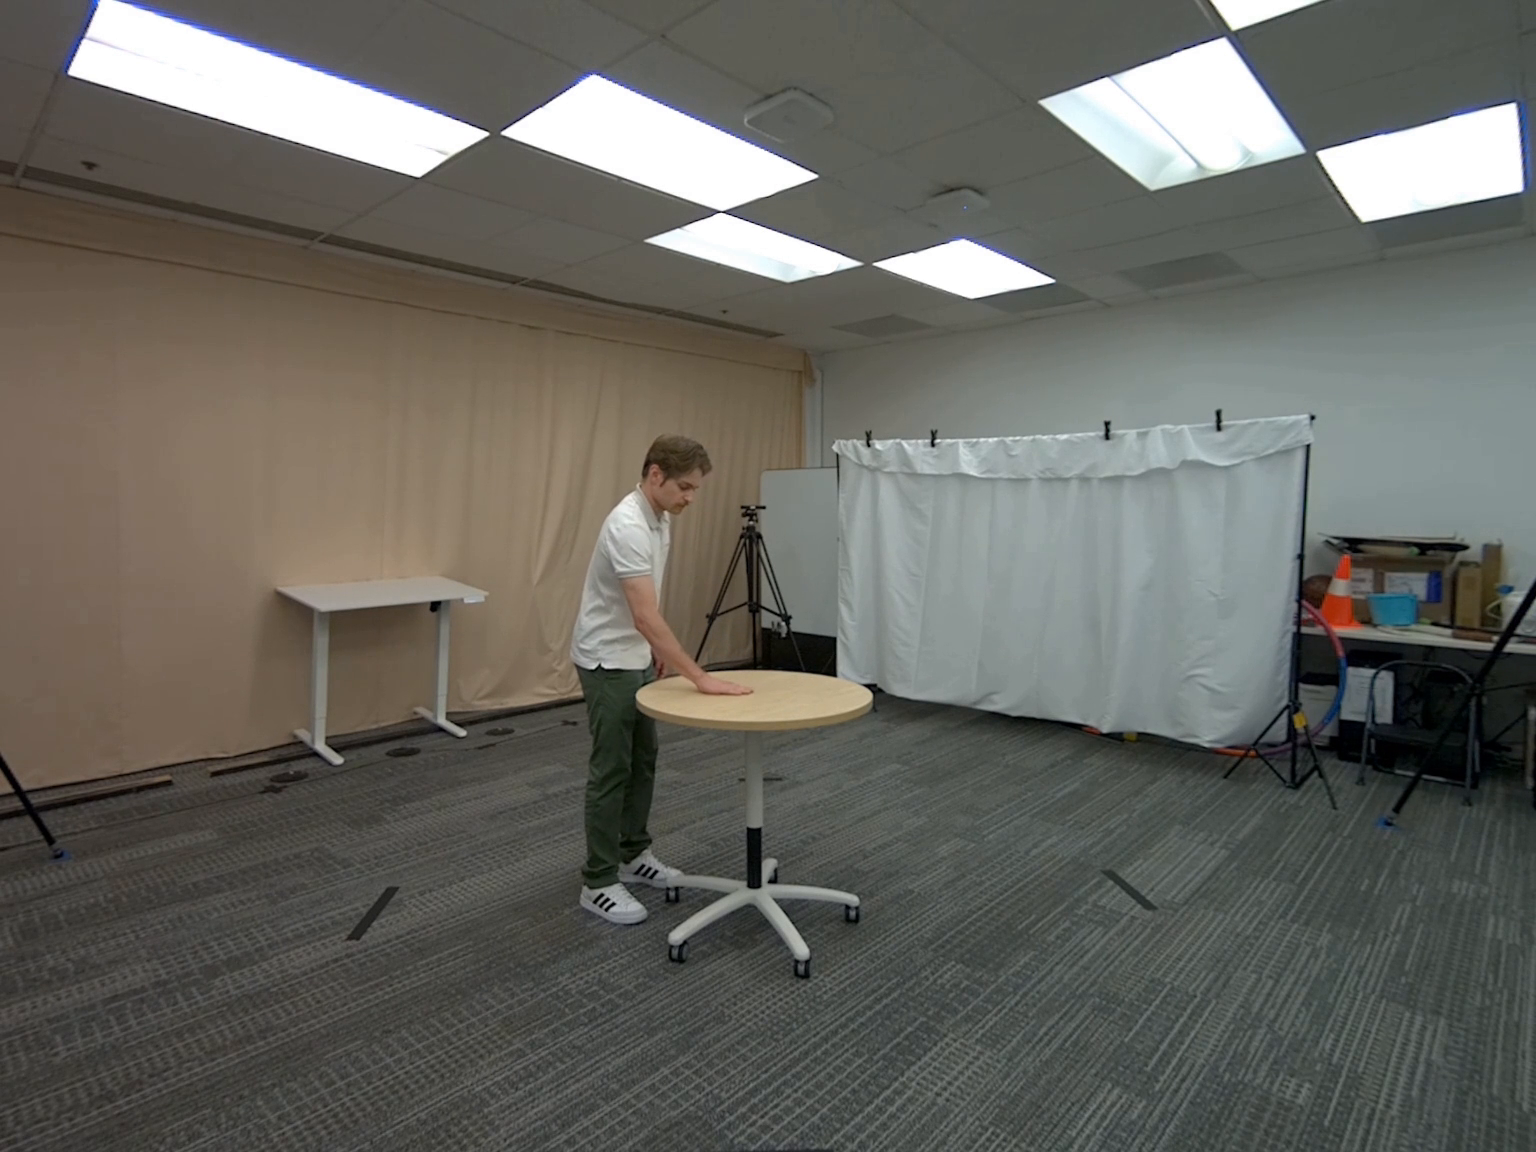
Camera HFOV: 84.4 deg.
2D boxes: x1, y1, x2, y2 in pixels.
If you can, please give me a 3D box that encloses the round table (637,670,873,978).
[{"bbox_3d":[-0.035,0.770,2.745,0.784,0.785,0.787,-1,3,-2],"label":"round table"}]
